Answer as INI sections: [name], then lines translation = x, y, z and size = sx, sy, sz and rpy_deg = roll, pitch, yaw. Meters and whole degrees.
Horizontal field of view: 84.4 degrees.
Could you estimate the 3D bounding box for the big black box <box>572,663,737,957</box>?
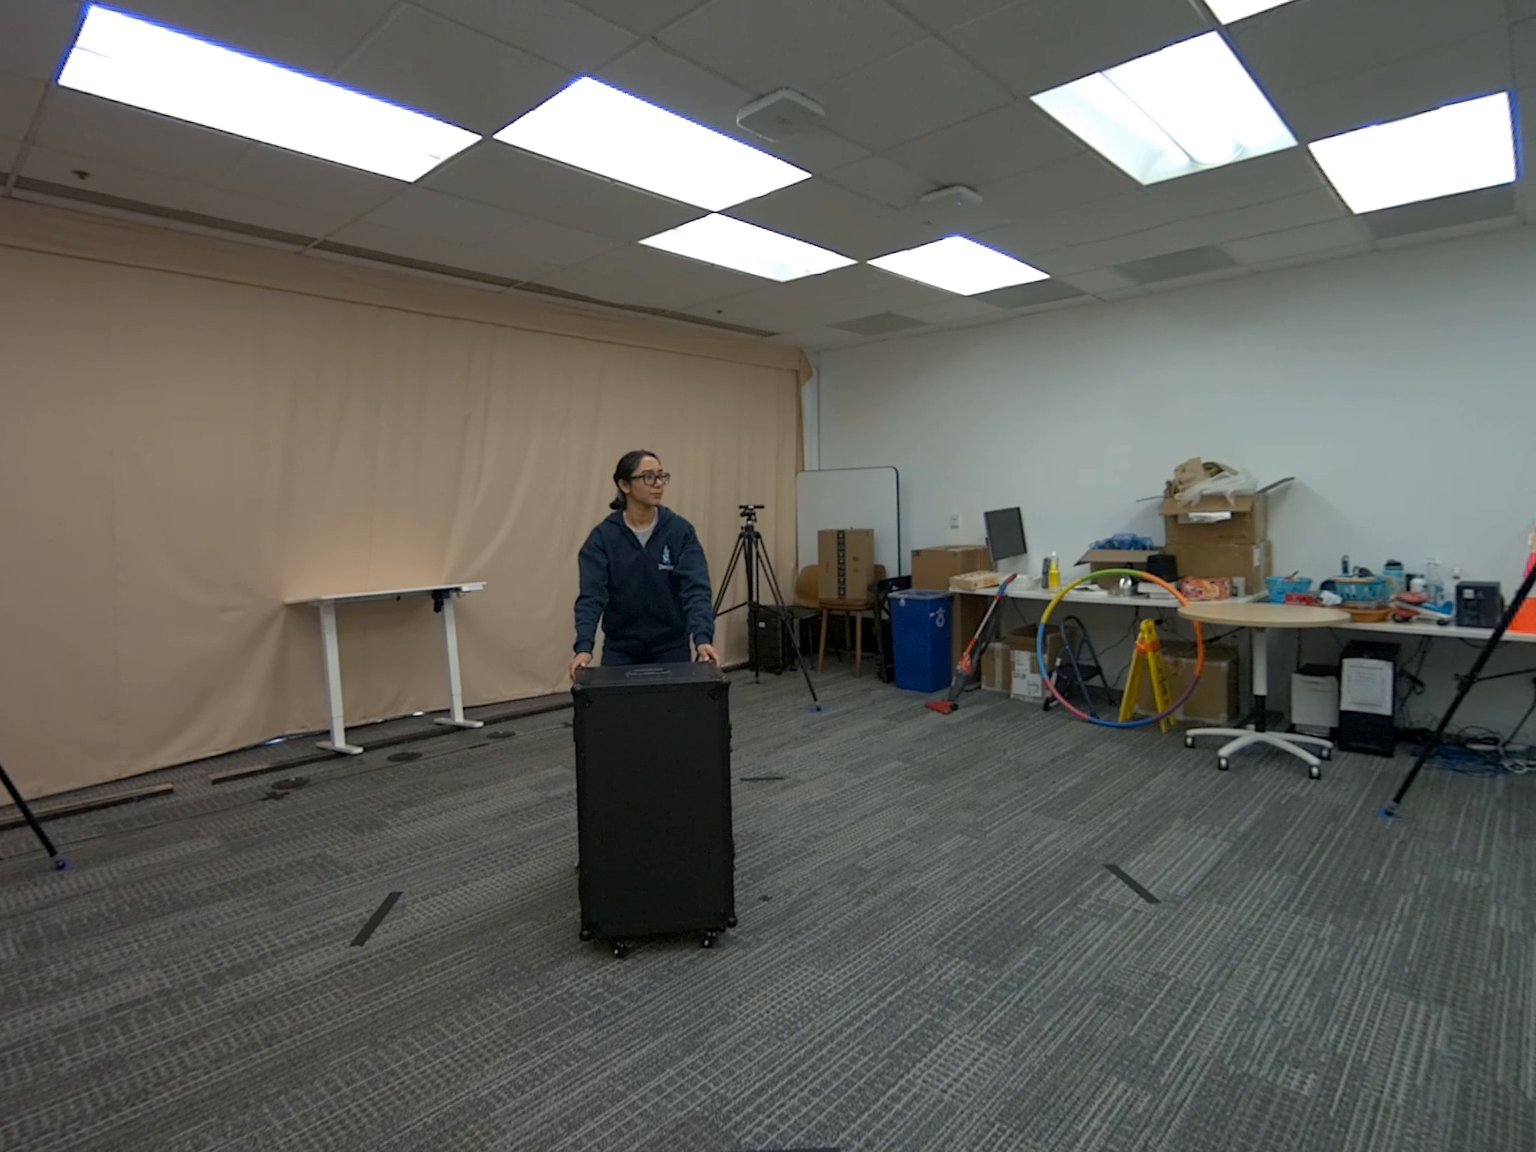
[big black box]
translation = -0.387, 0.745, 2.779
size = 0.517, 0.860, 0.400
rpy_deg = -3, 2, -8
